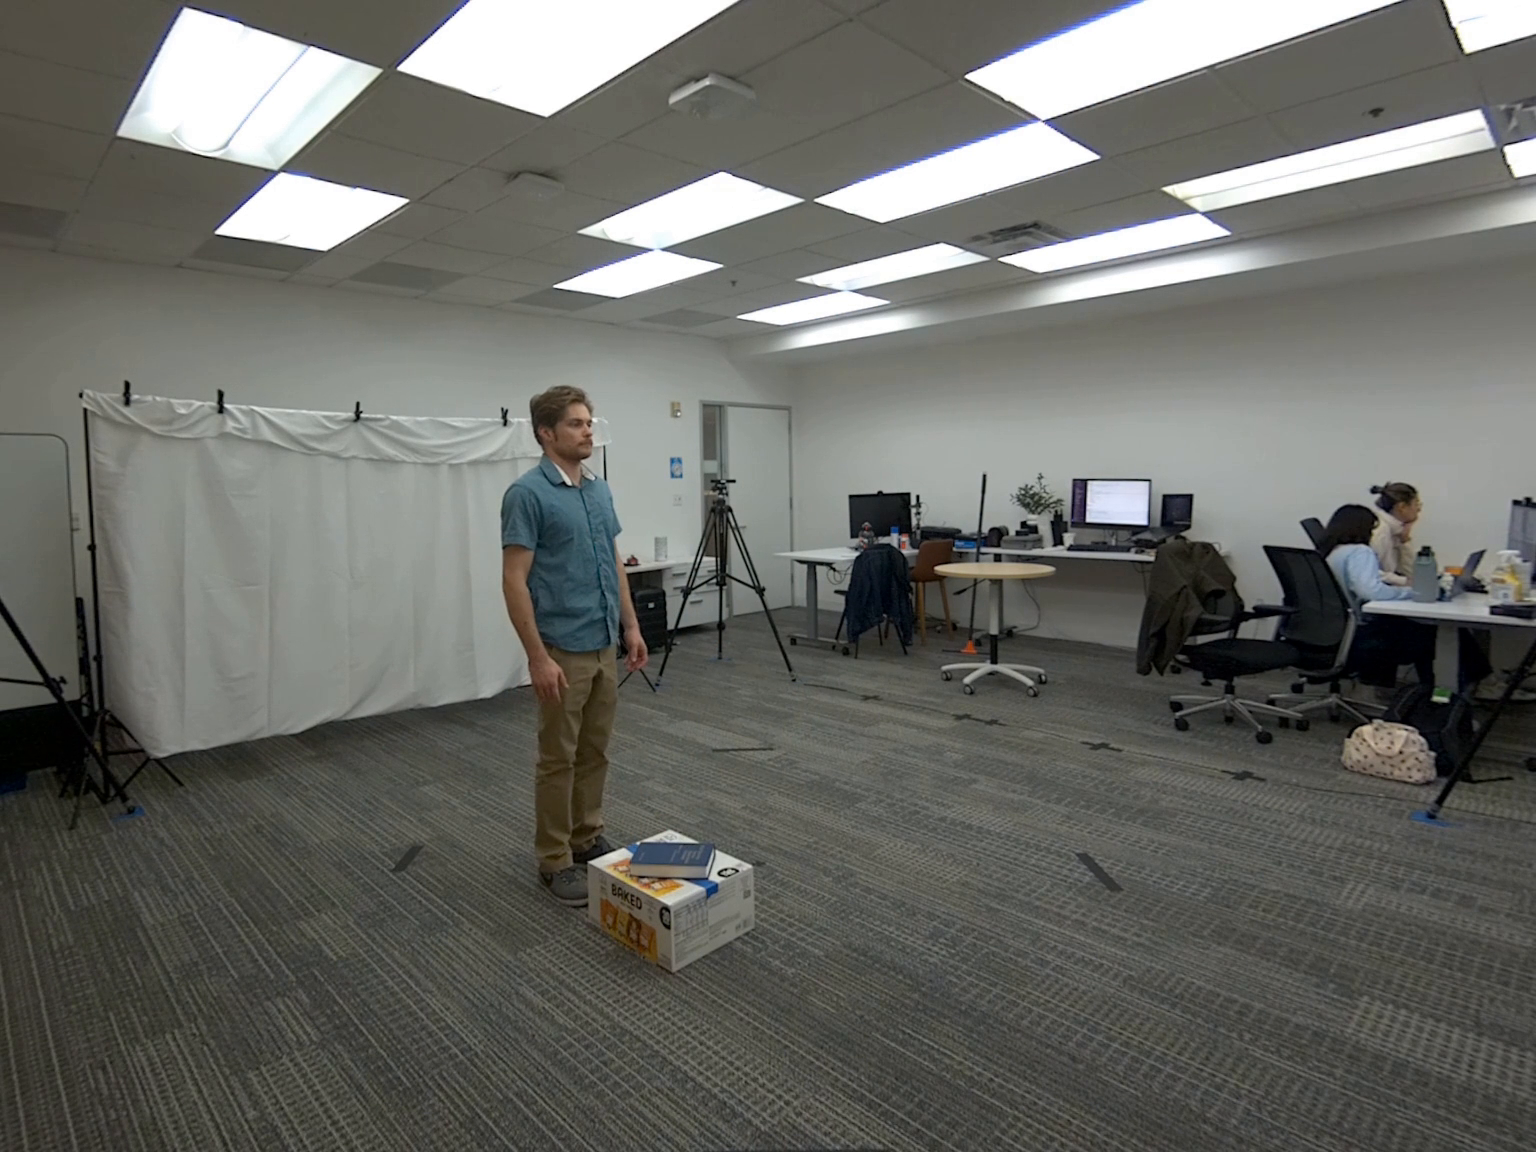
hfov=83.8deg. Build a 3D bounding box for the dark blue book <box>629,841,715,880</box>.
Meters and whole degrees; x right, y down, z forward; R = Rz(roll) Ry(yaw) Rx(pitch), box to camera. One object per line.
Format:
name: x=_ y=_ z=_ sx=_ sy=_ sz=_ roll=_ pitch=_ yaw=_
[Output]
dark blue book: x=-0.293 y=0.891 z=2.656 sx=0.247 sy=0.045 sz=0.163 roll=-2 pitch=6 yaw=7
